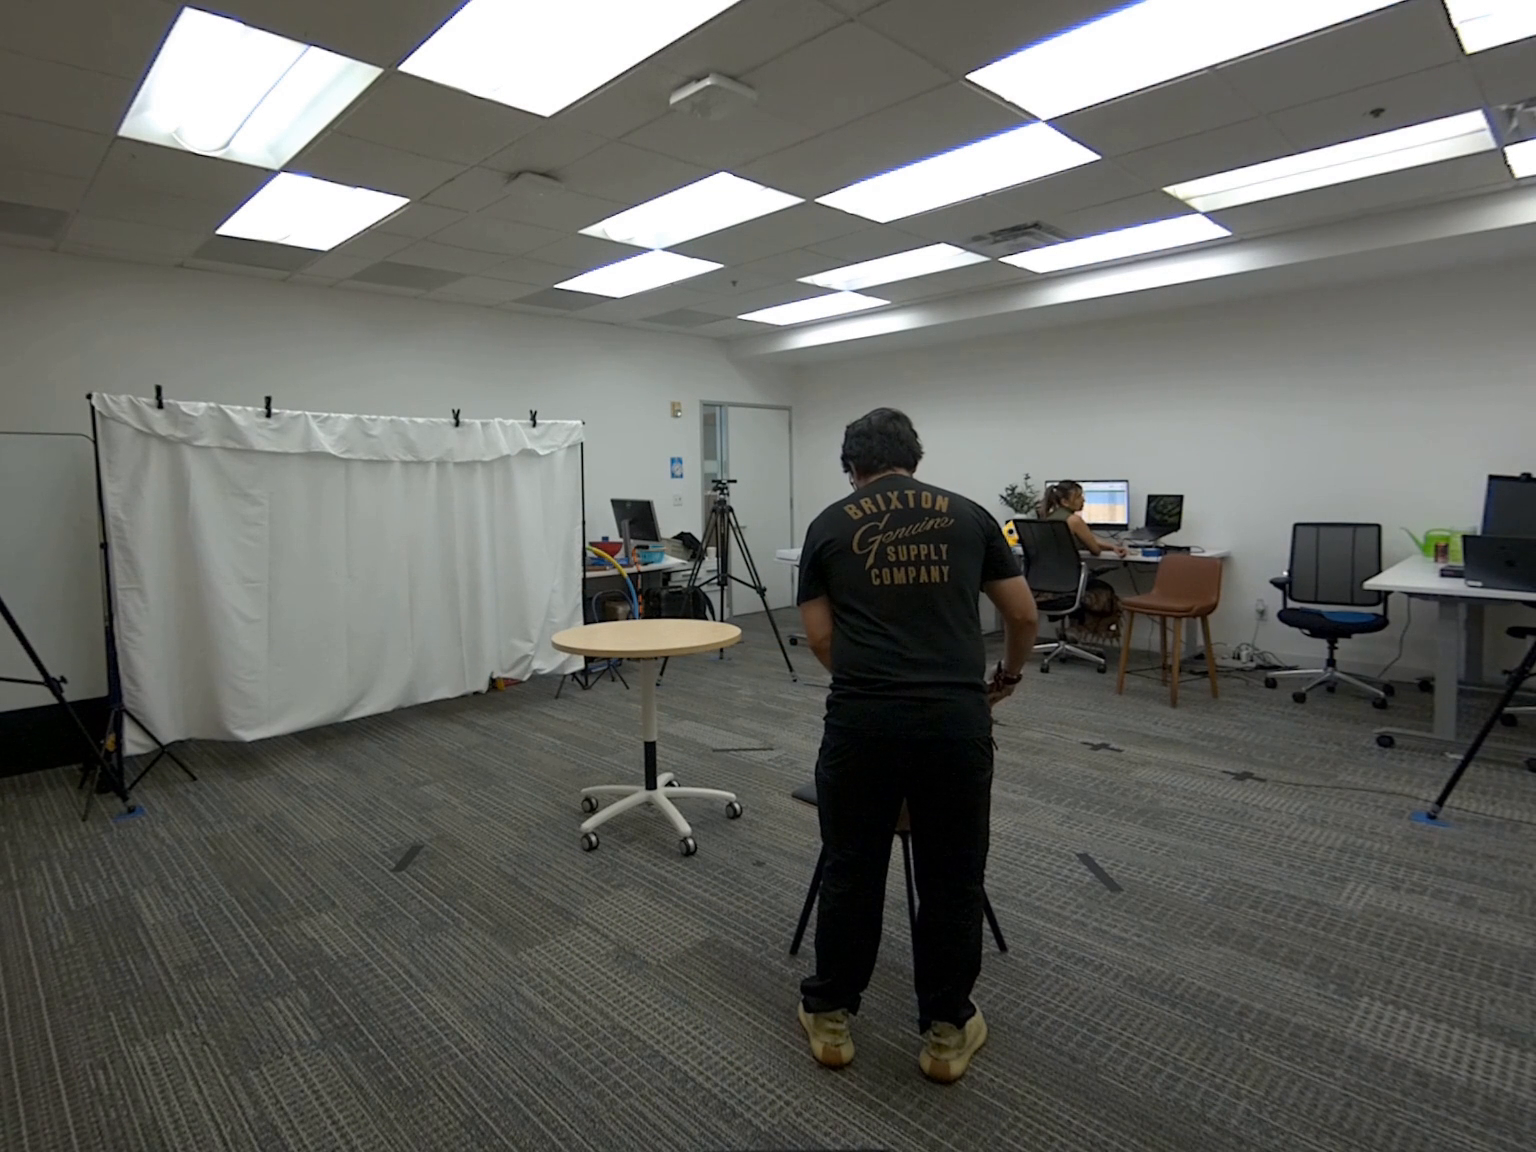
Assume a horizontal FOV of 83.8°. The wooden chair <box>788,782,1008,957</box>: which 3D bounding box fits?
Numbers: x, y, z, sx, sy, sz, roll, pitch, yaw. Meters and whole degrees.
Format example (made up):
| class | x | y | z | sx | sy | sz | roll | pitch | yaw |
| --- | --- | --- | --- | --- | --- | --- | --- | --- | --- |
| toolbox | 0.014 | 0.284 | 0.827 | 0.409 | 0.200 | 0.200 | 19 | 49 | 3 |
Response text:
| class | x | y | z | sx | sy | sz | roll | pitch | yaw |
| --- | --- | --- | --- | --- | --- | --- | --- | --- | --- |
| wooden chair | 0.379 | 0.683 | 2.488 | 0.540 | 0.872 | 0.465 | 9 | 10 | 44 |
